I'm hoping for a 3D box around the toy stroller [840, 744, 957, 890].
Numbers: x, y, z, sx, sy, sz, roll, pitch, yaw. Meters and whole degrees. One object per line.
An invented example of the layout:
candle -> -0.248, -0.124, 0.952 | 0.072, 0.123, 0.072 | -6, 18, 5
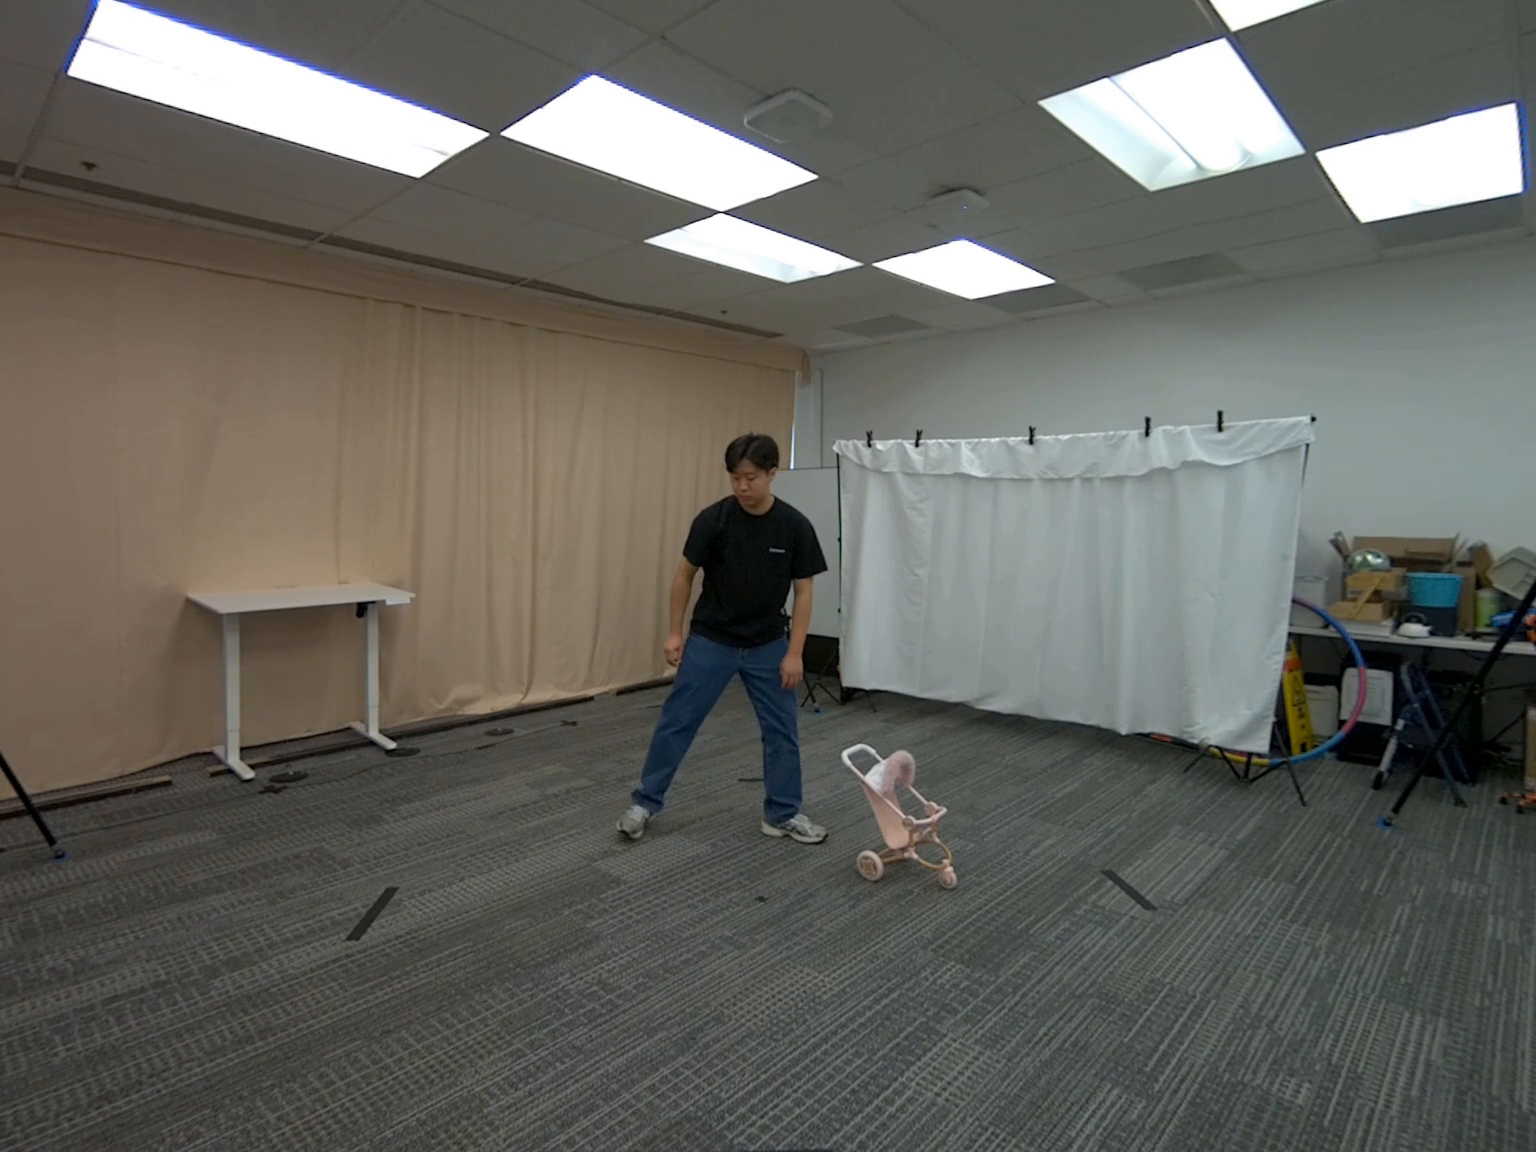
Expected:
toy stroller -> 0.509, 0.900, 3.168 | 0.350, 0.538, 0.273 | -17, -9, 42
